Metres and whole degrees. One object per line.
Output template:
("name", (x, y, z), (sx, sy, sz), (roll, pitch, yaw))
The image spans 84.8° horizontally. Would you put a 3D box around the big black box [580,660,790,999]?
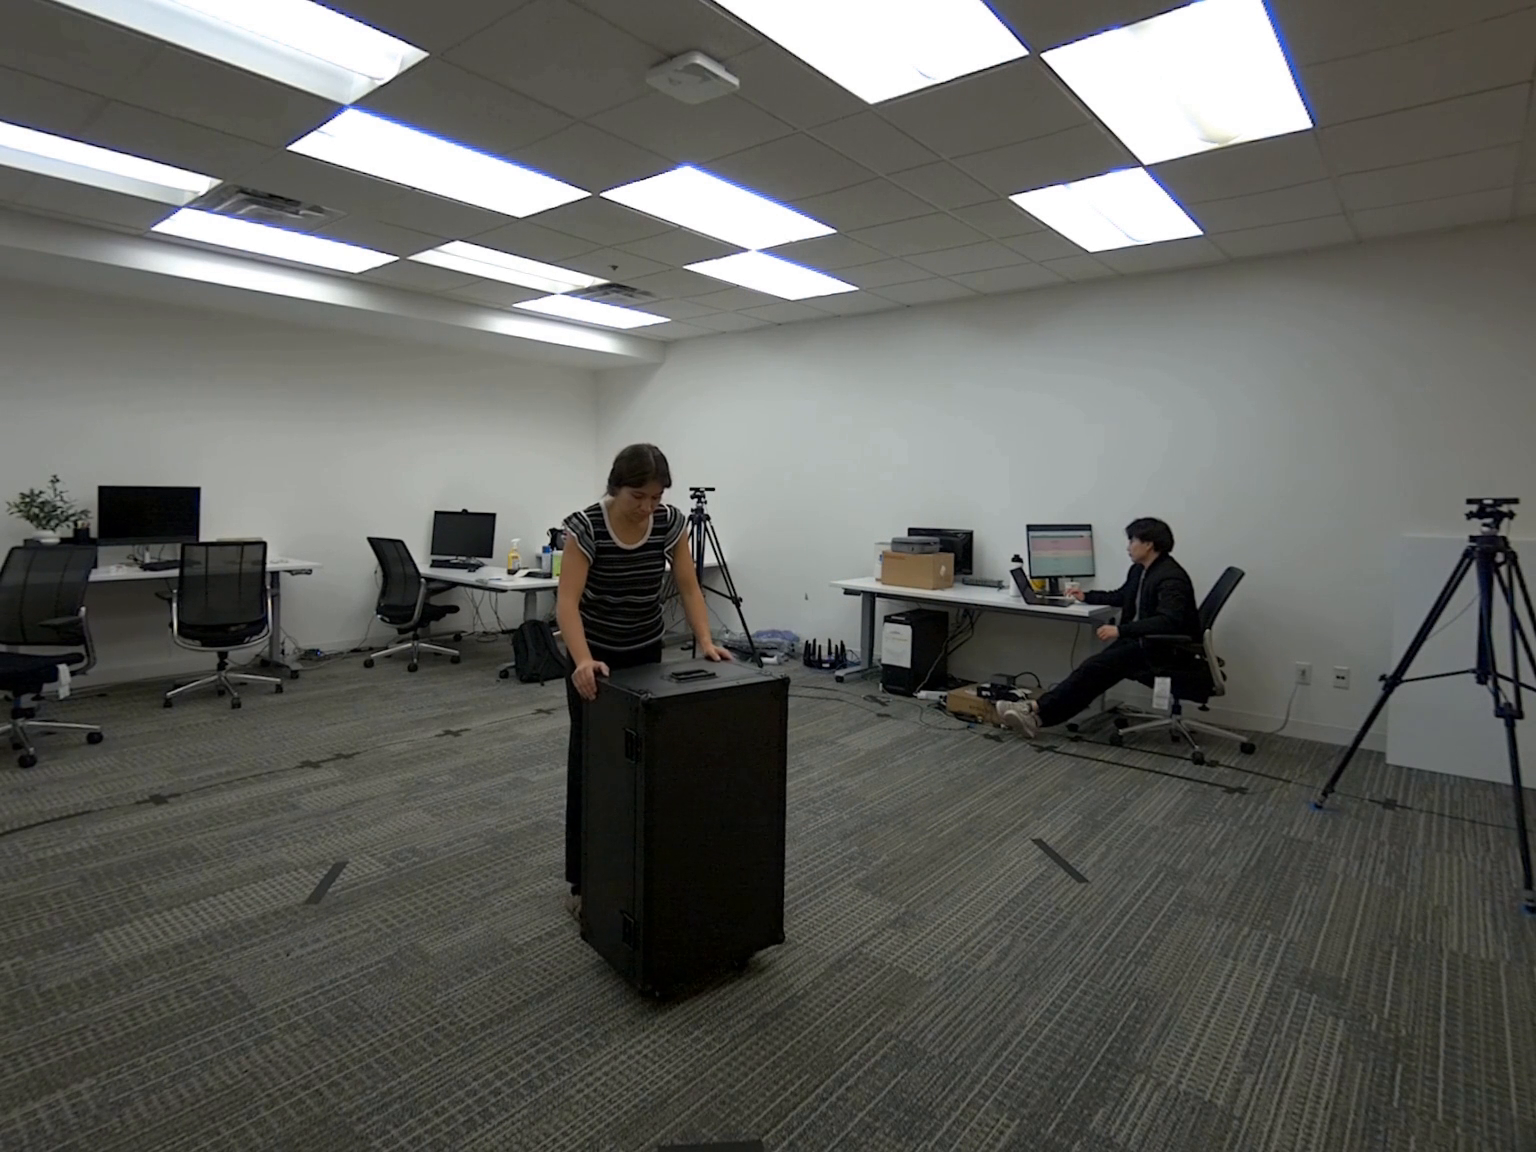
("big black box", (-0.261, 0.704, 2.462), (0.506, 0.859, 0.409), (-2, 4, -38))
